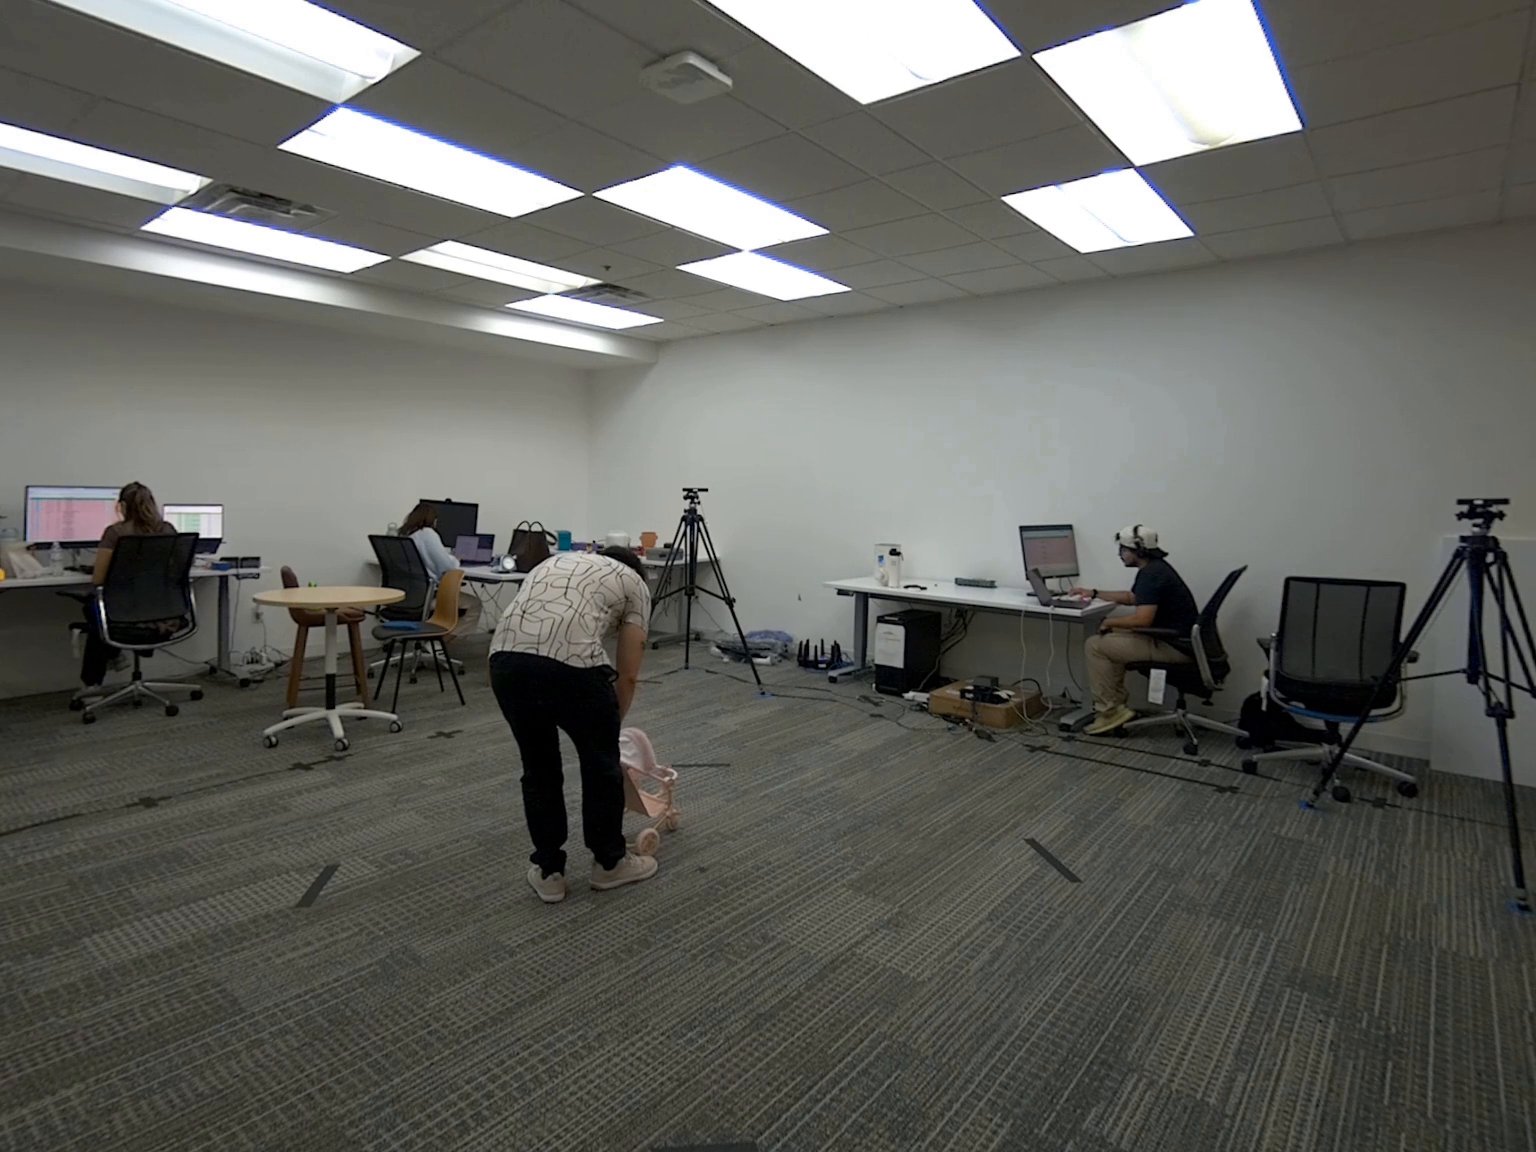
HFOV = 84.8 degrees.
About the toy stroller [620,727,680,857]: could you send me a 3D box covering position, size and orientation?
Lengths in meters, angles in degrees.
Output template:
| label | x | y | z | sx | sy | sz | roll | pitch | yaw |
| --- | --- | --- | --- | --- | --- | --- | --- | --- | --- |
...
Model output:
| label | x | y | z | sx | sy | sz | roll | pitch | yaw |
| --- | --- | --- | --- | --- | --- | --- | --- | --- | --- |
| toy stroller | -0.520 | 0.818 | 3.311 | 0.291 | 0.526 | 0.335 | 4 | 21 | 45 |
